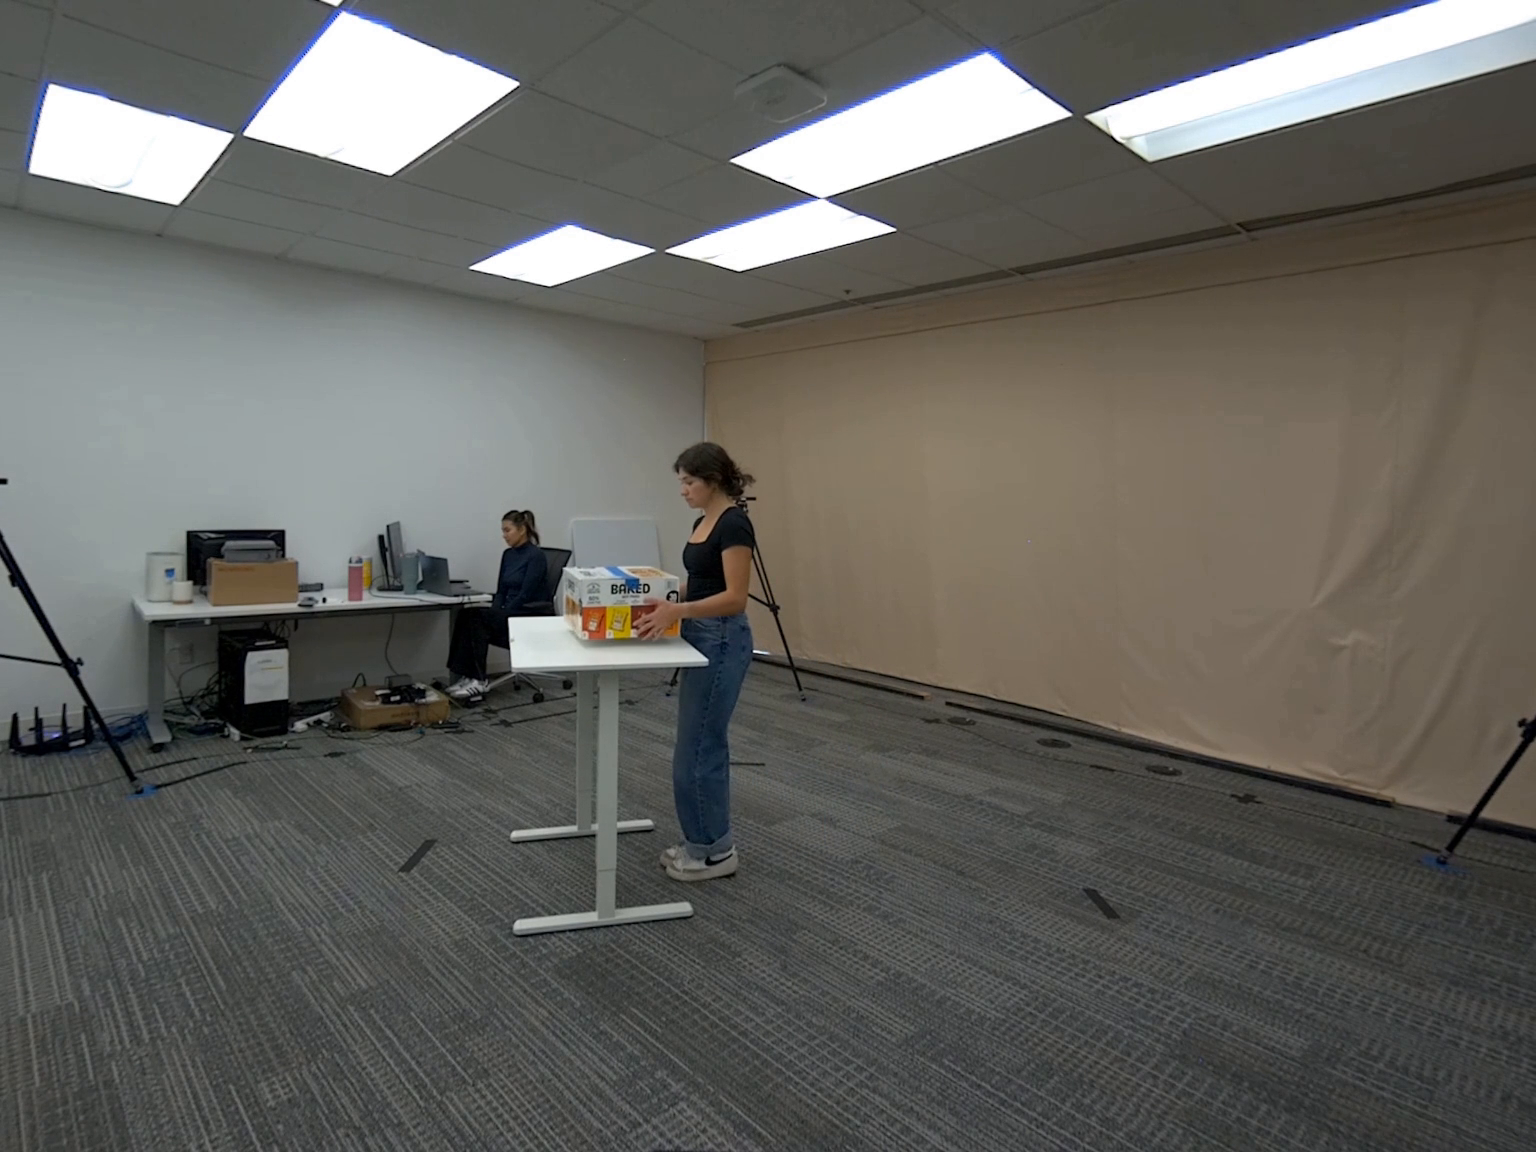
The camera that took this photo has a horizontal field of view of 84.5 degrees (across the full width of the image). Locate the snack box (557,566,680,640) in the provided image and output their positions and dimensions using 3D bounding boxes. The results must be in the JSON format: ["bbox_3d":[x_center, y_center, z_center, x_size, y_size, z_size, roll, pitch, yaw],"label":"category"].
[{"bbox_3d":[-0.541,0.088,3.033,0.335,0.205,0.413,0,6,-21],"label":"snack box"}]
